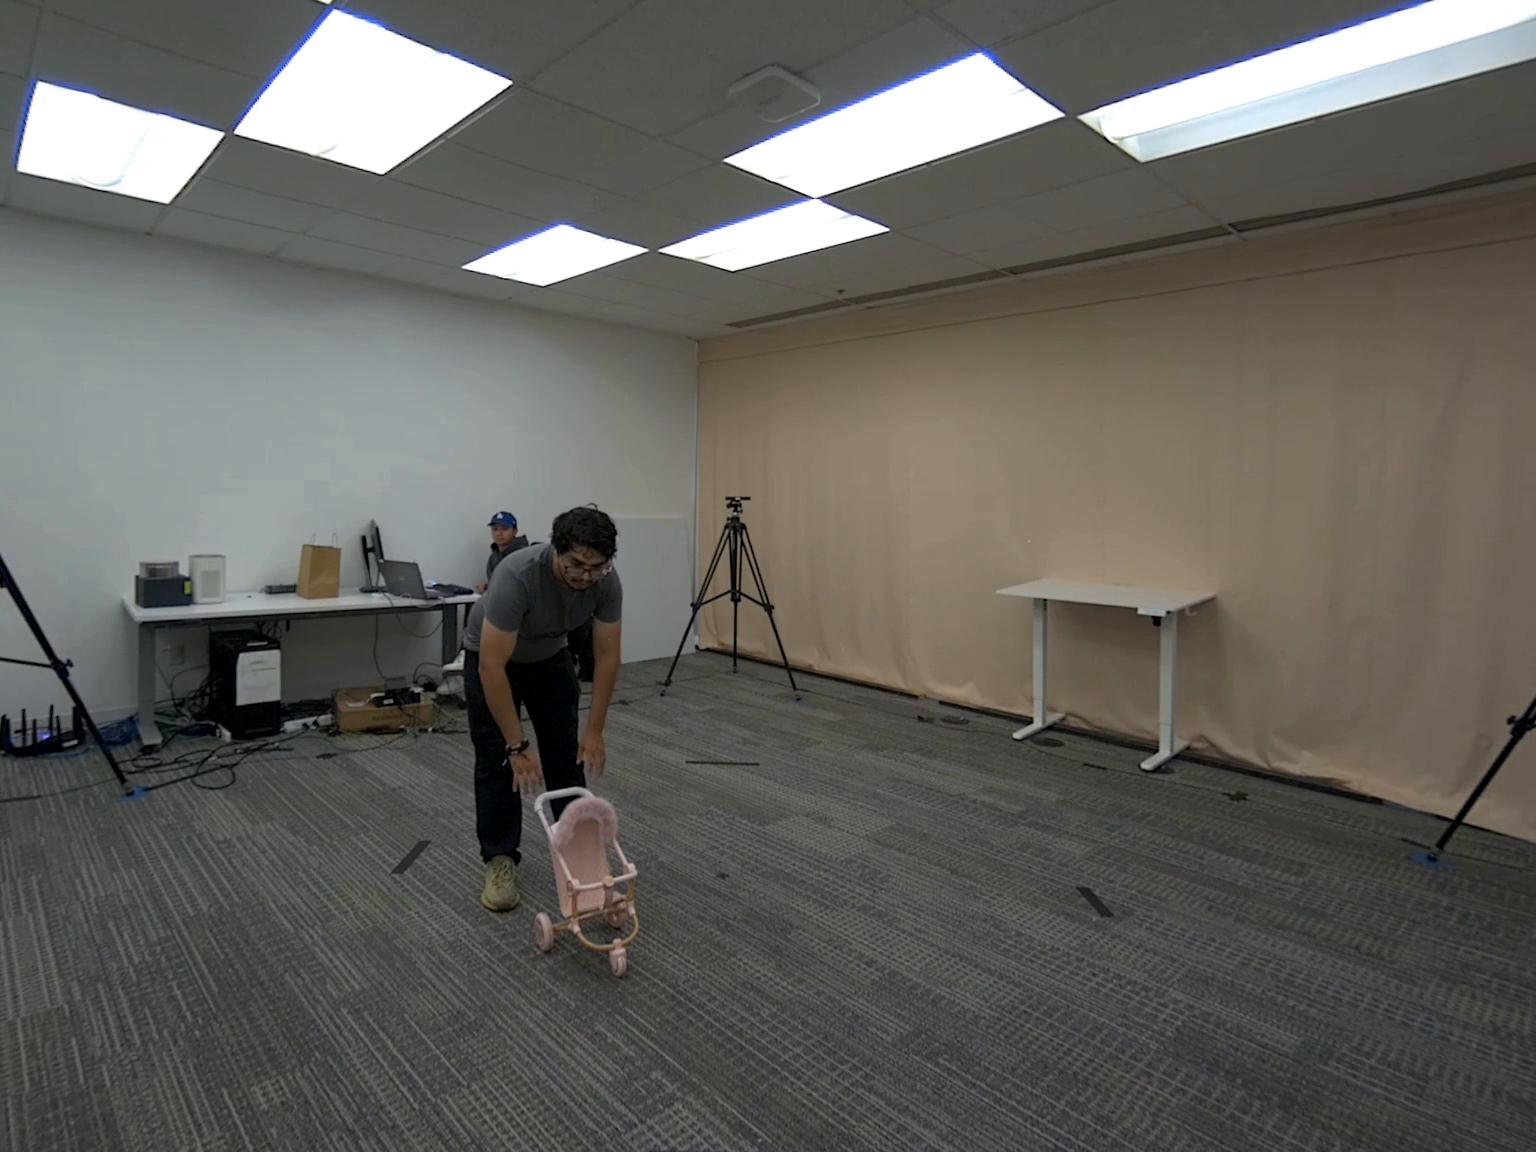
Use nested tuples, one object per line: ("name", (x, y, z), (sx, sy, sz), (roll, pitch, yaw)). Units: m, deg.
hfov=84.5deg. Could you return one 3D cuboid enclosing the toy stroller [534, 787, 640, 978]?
("toy stroller", (-0.556, 0.924, 2.588), (0.275, 0.540, 0.345), (-1, -13, -33))
